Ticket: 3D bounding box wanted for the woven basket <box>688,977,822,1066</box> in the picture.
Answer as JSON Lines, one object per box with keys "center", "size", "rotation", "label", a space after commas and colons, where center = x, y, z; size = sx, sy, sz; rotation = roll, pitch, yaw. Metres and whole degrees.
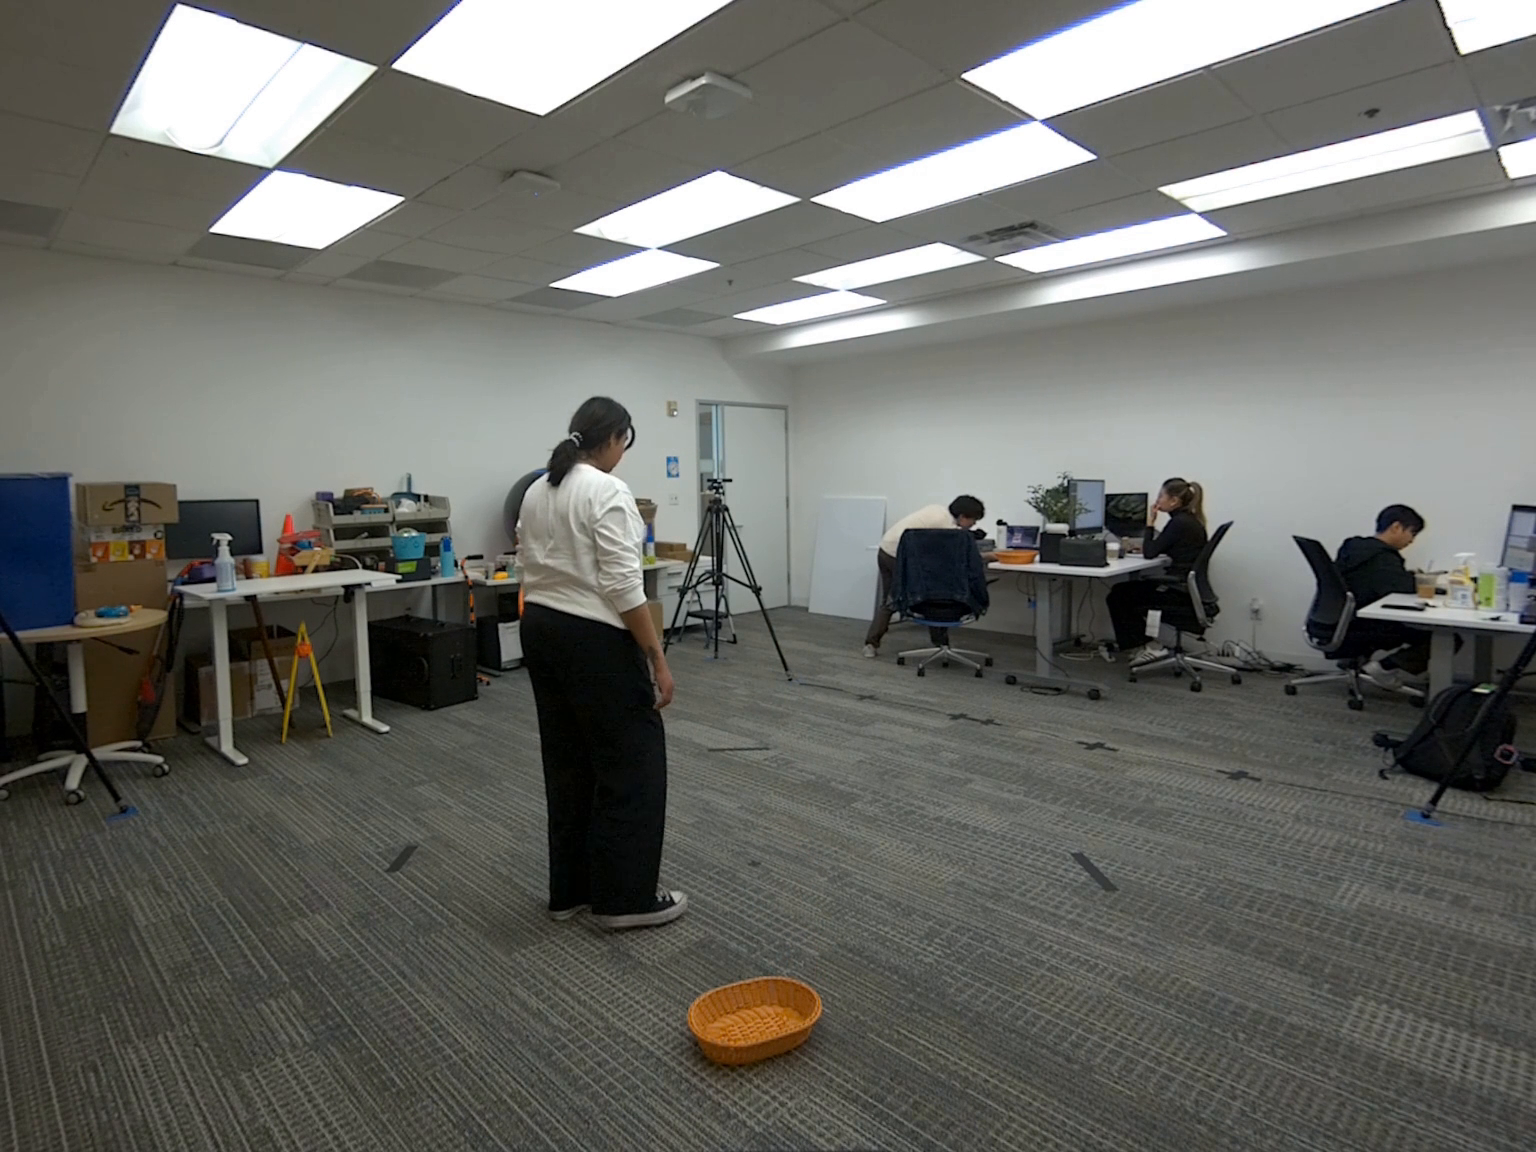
{"center": [-0.026, 1.125, 2.147], "size": [0.343, 0.073, 0.258], "rotation": [-5, 5, -24], "label": "woven basket"}
